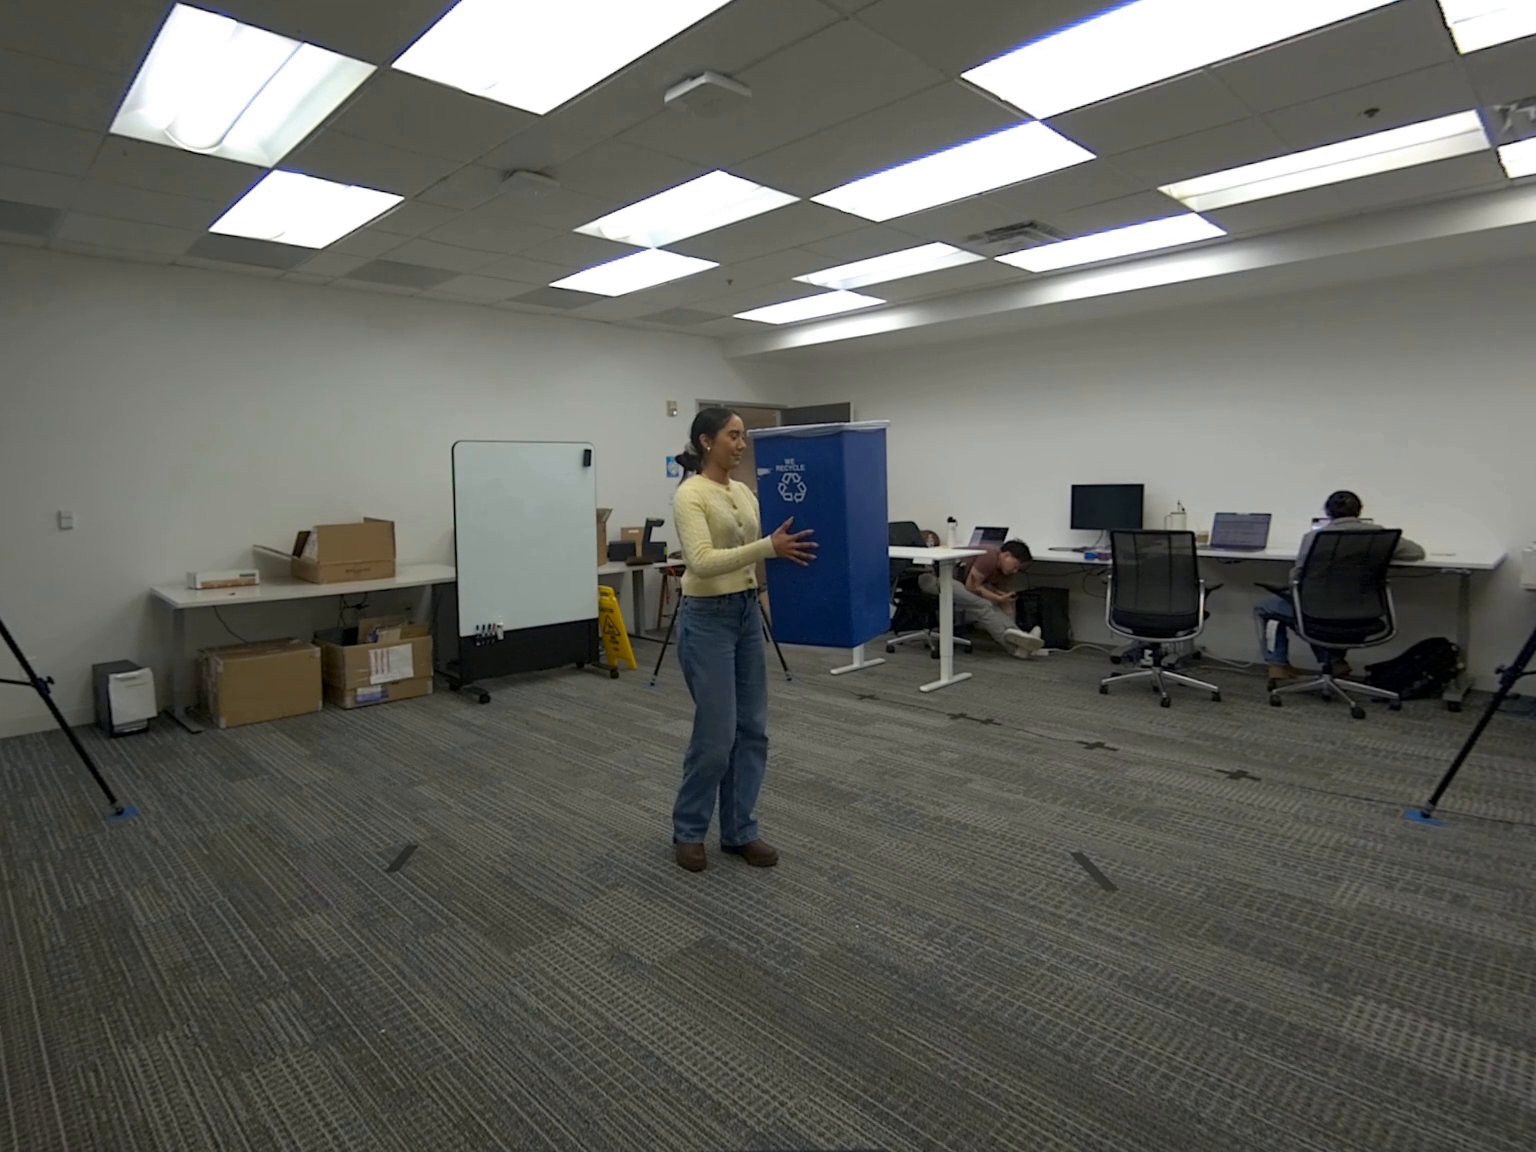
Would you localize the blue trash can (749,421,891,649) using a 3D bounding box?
[{"bbox_3d":[0.198,-0.150,2.865,0.384,0.709,0.370,0,8,33],"label":"blue trash can"}]
